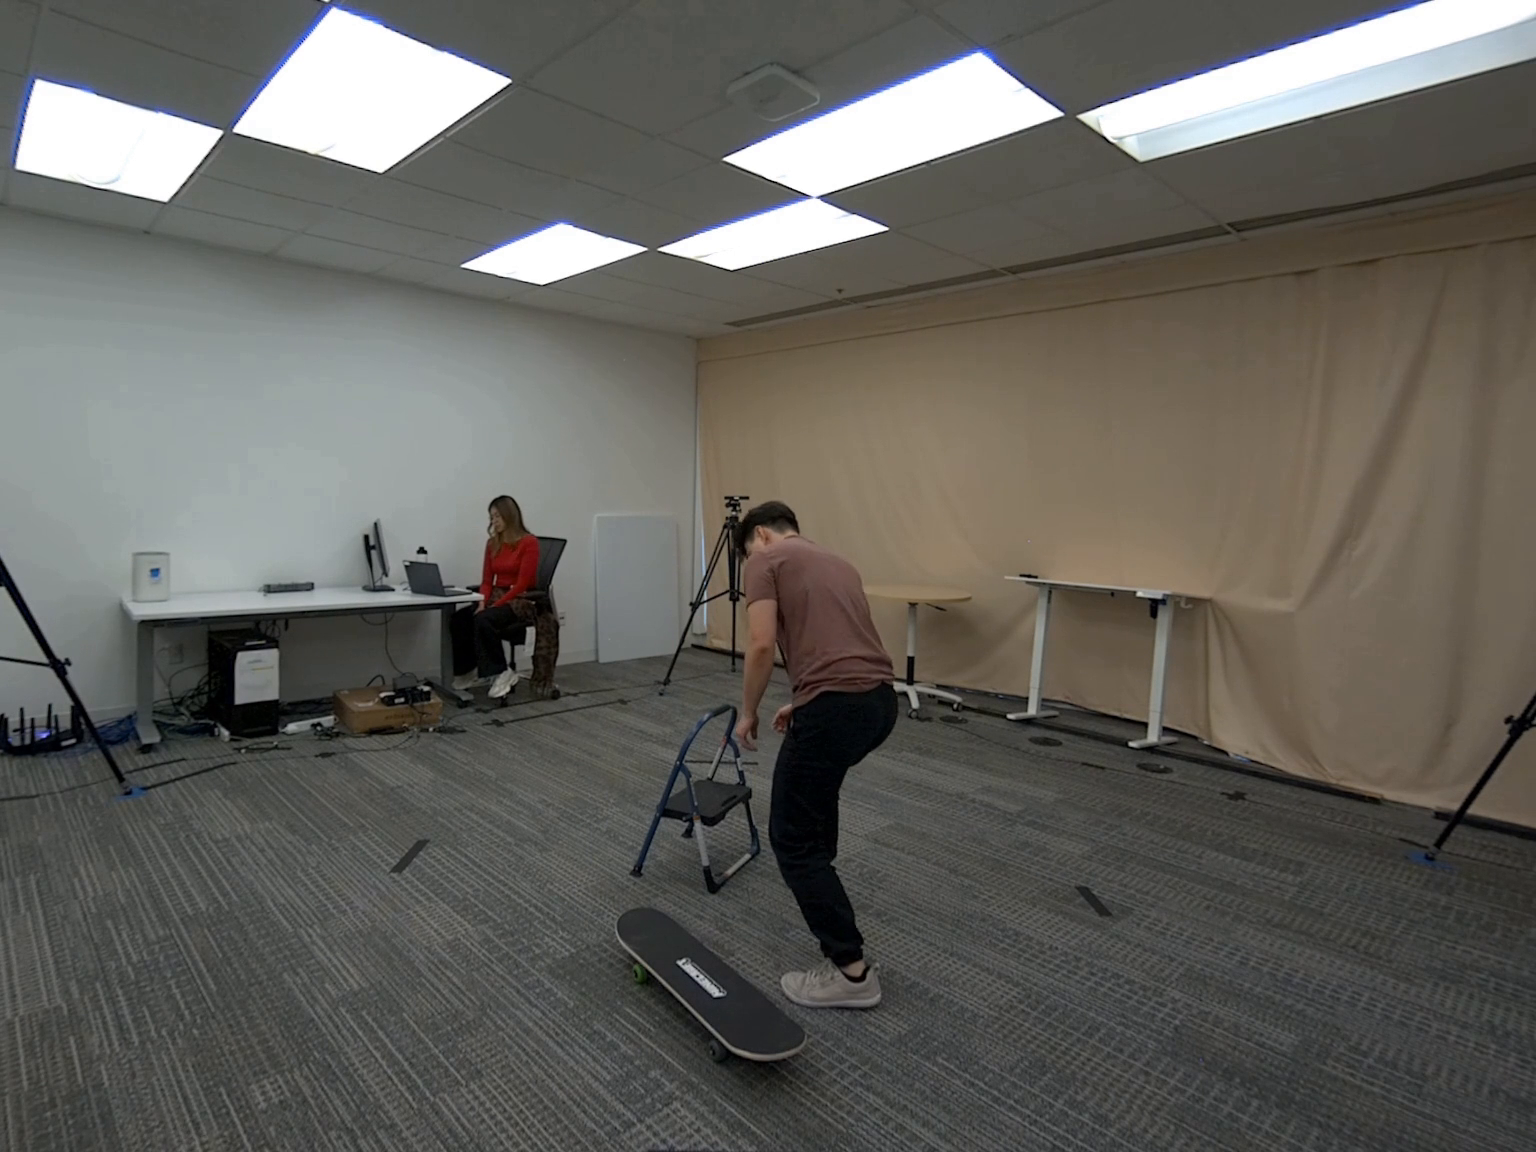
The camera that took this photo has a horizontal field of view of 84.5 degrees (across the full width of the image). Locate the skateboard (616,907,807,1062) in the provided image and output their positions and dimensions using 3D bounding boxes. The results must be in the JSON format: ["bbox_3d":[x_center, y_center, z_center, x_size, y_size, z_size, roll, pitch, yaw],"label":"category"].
[{"bbox_3d":[-0.201,1.130,2.285,0.189,0.110,0.805,-2,7,-36],"label":"skateboard"}]
